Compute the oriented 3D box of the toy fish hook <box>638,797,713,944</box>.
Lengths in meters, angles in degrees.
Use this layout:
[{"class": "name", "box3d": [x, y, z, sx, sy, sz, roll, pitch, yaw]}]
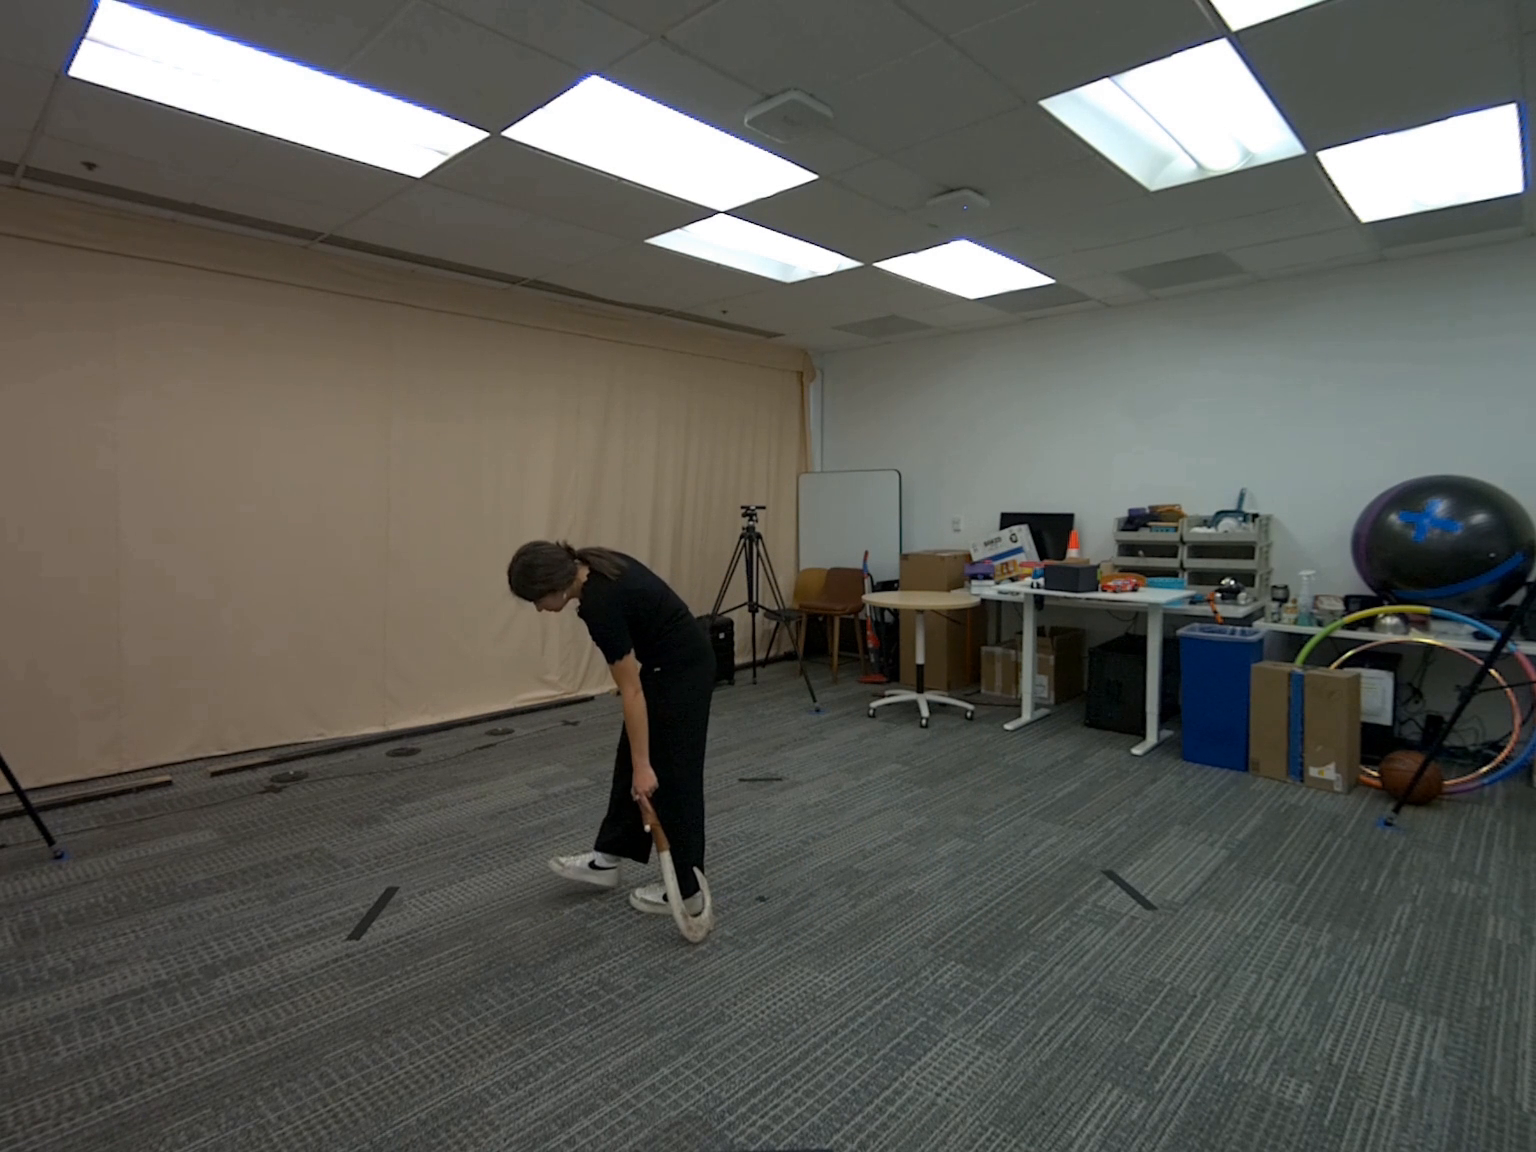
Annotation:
[{"class": "toy fish hook", "box3d": [-0.299, 0.928, 2.755, 0.049, 0.510, 0.220, -23, -7, 18]}]
